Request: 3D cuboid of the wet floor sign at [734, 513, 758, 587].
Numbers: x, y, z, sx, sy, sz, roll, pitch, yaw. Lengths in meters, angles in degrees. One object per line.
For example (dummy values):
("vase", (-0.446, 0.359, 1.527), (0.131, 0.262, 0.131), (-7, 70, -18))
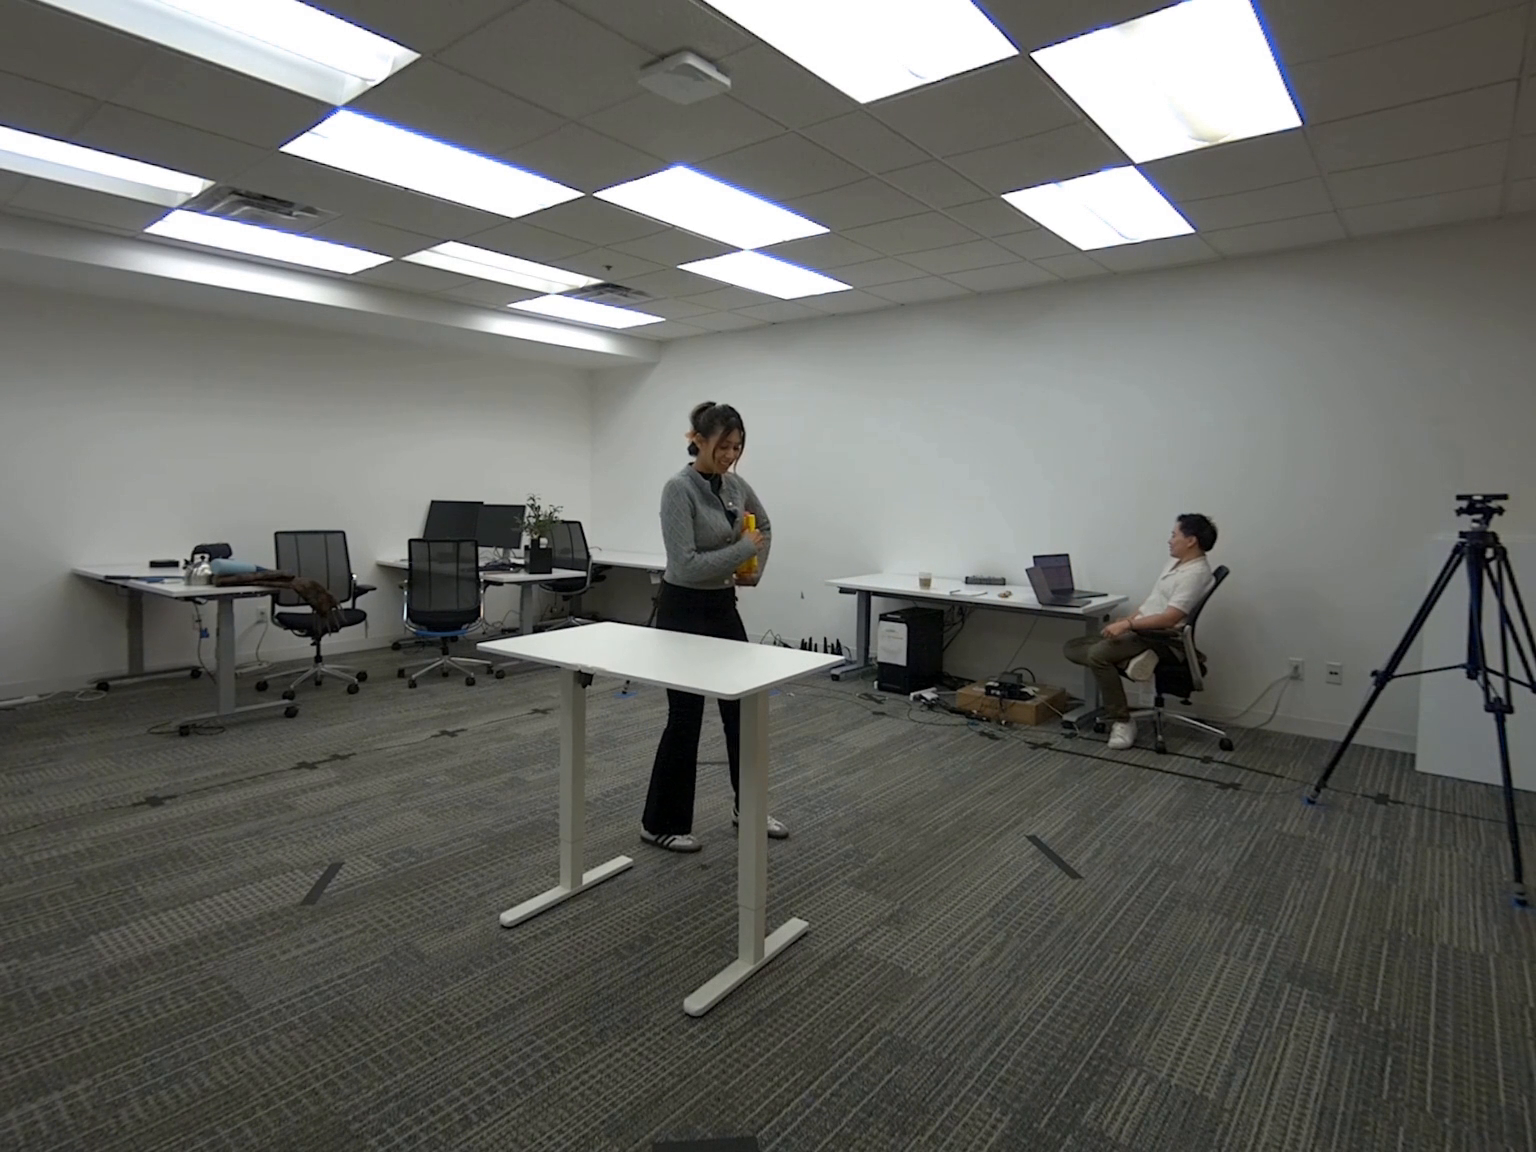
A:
("wet floor sign", (-0.157, -0.109, 3.537), (0.284, 0.284, 0.654), (0, -5, -19))
